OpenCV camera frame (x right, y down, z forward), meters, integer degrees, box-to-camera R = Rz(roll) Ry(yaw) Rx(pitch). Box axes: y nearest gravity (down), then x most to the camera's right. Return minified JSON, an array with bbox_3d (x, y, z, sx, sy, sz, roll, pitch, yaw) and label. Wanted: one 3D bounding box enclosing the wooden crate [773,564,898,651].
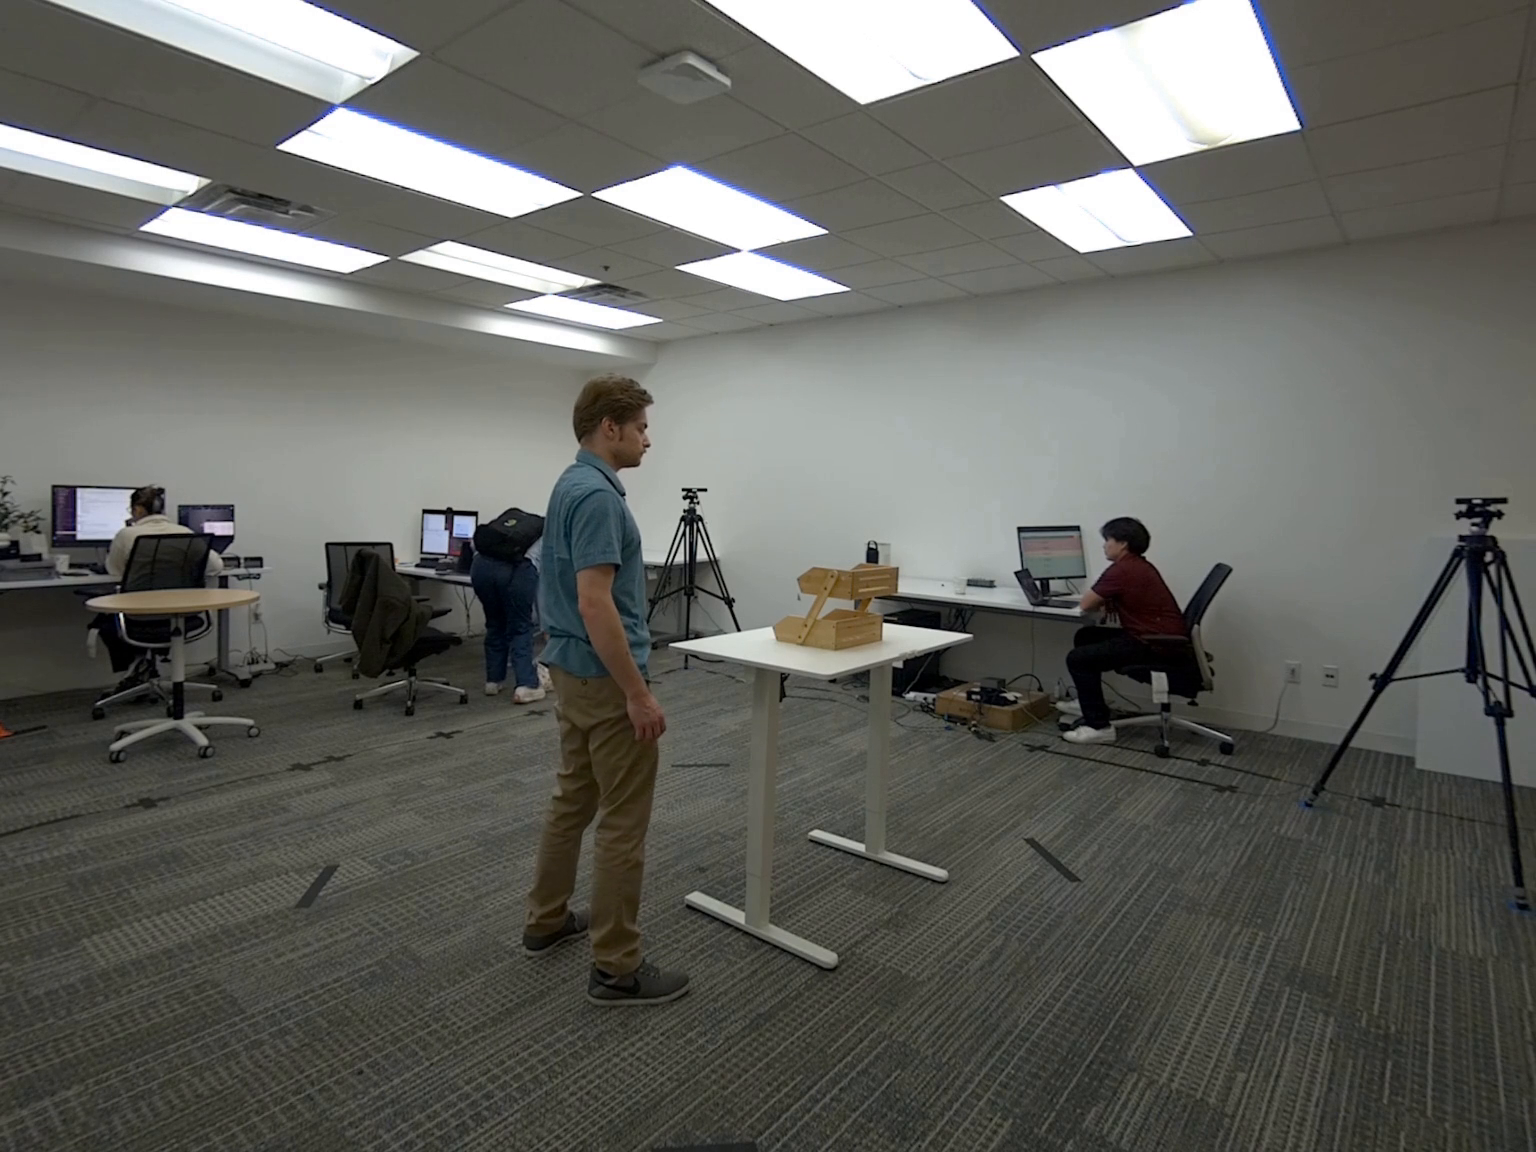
[{"bbox_3d":[0.217,0.086,2.871,0.312,0.272,0.315,6,6,39],"label":"wooden crate"}]
